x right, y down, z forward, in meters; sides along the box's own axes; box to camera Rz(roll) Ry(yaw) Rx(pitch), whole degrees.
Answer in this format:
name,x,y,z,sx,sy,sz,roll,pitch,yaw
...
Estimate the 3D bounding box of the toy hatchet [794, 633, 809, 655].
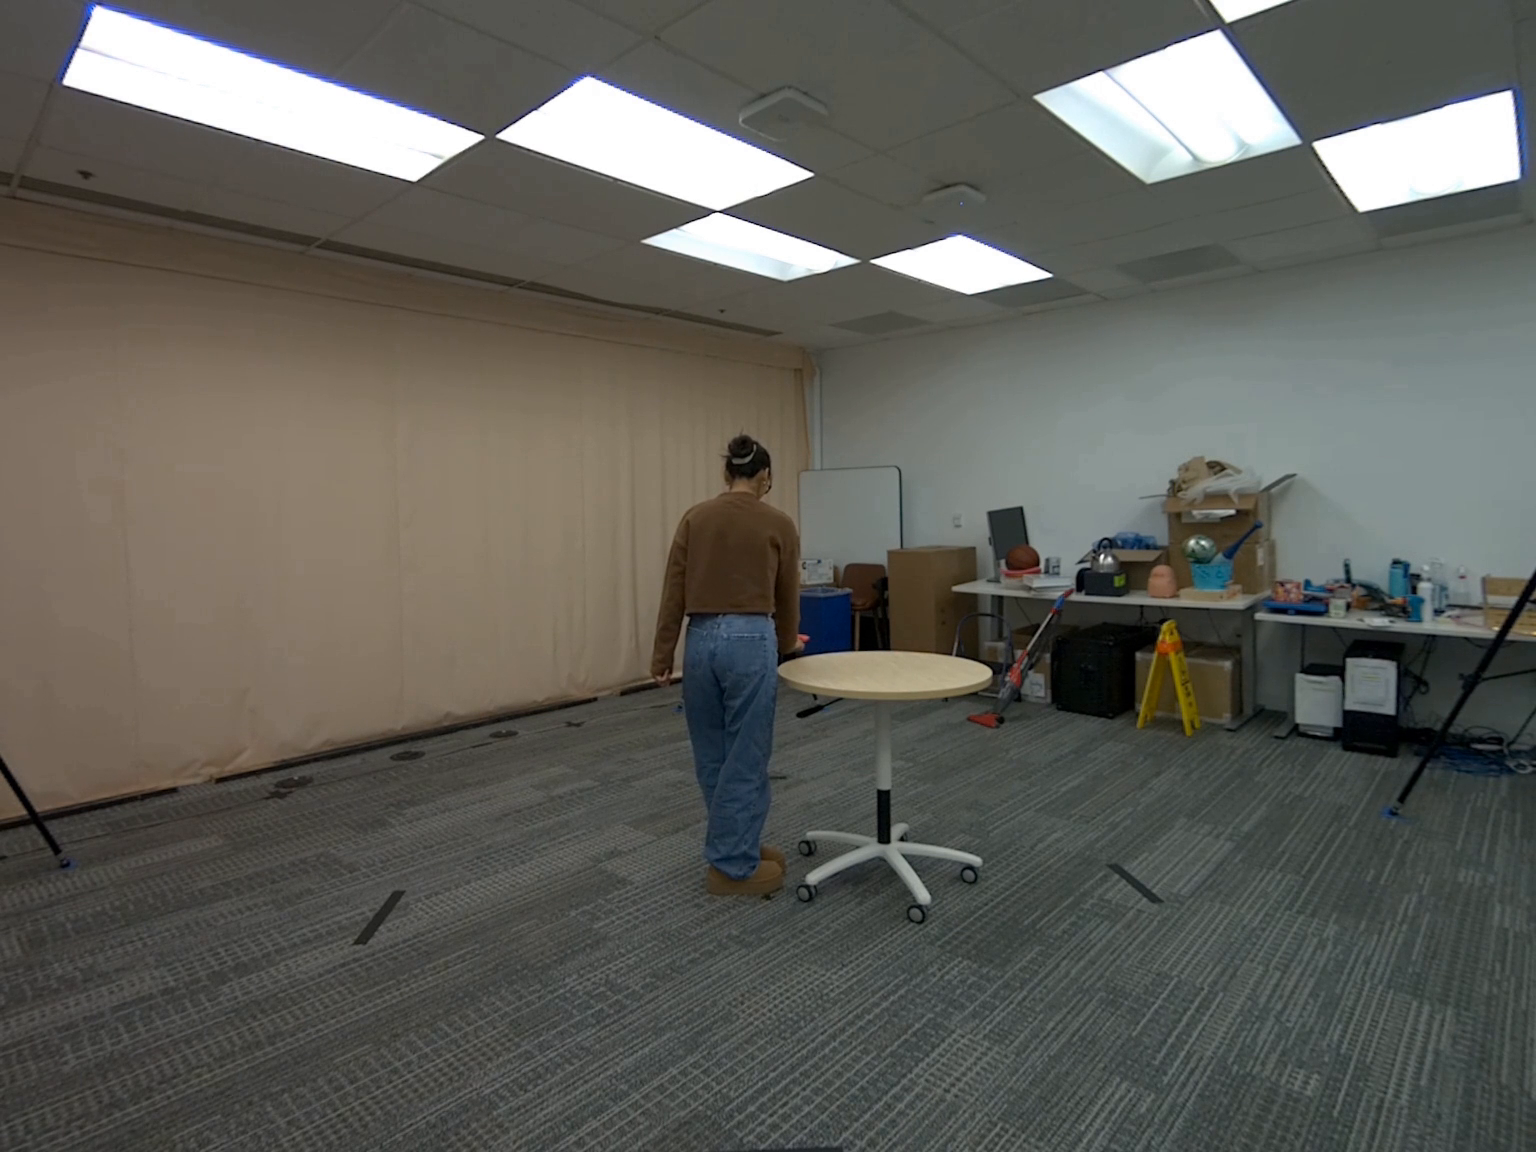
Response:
name,x,y,z,sx,sy,sz,roll,pitch,yaw
toy hatchet,0.086,0.279,3.442,0.133,0.029,0.266,-5,4,14
